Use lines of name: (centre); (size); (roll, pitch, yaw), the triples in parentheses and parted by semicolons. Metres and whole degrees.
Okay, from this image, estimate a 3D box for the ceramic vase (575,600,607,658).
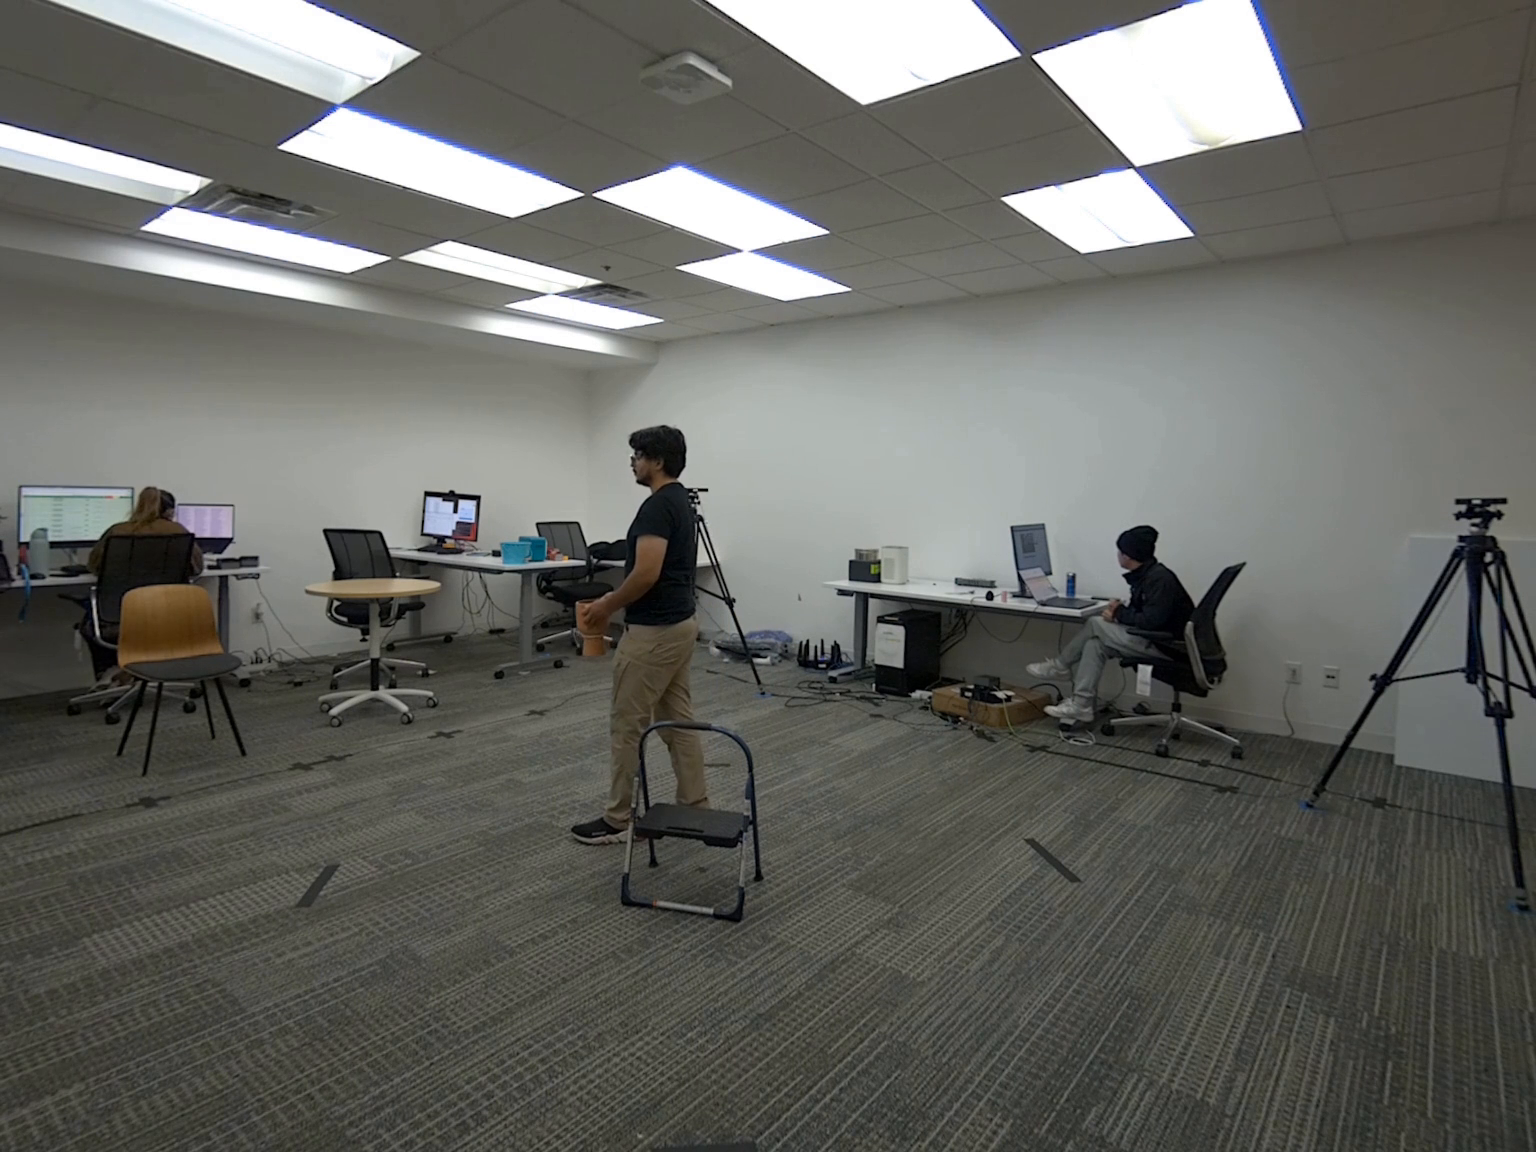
ceramic vase: (-0.730, 0.211, 3.500); (0.139, 0.219, 0.155); (1, 6, 34)
